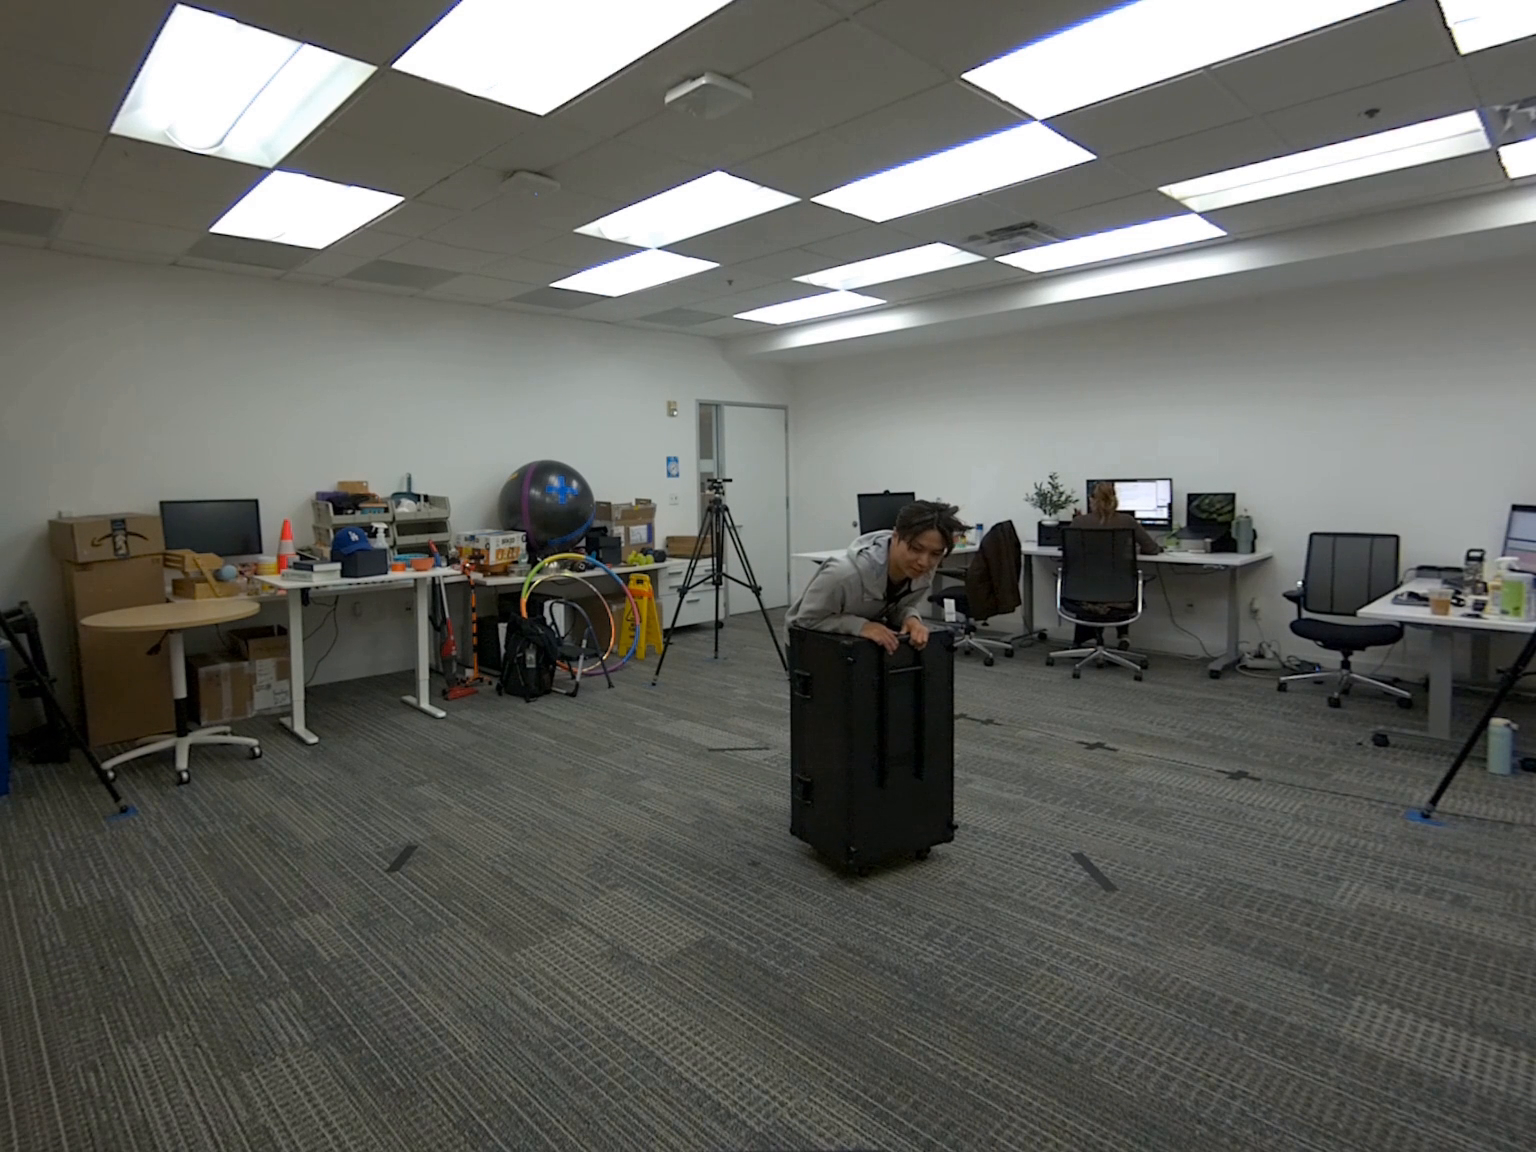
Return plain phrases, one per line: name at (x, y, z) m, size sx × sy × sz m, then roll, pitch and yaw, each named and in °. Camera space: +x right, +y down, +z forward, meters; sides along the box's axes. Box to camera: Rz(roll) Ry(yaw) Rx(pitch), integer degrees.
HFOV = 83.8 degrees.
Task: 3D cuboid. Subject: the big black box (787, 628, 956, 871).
big black box at (0.391, 0.615, 3.112) m, size 0.509 × 0.857 × 0.407 m, roll -3°, pitch 6°, yaw -29°
